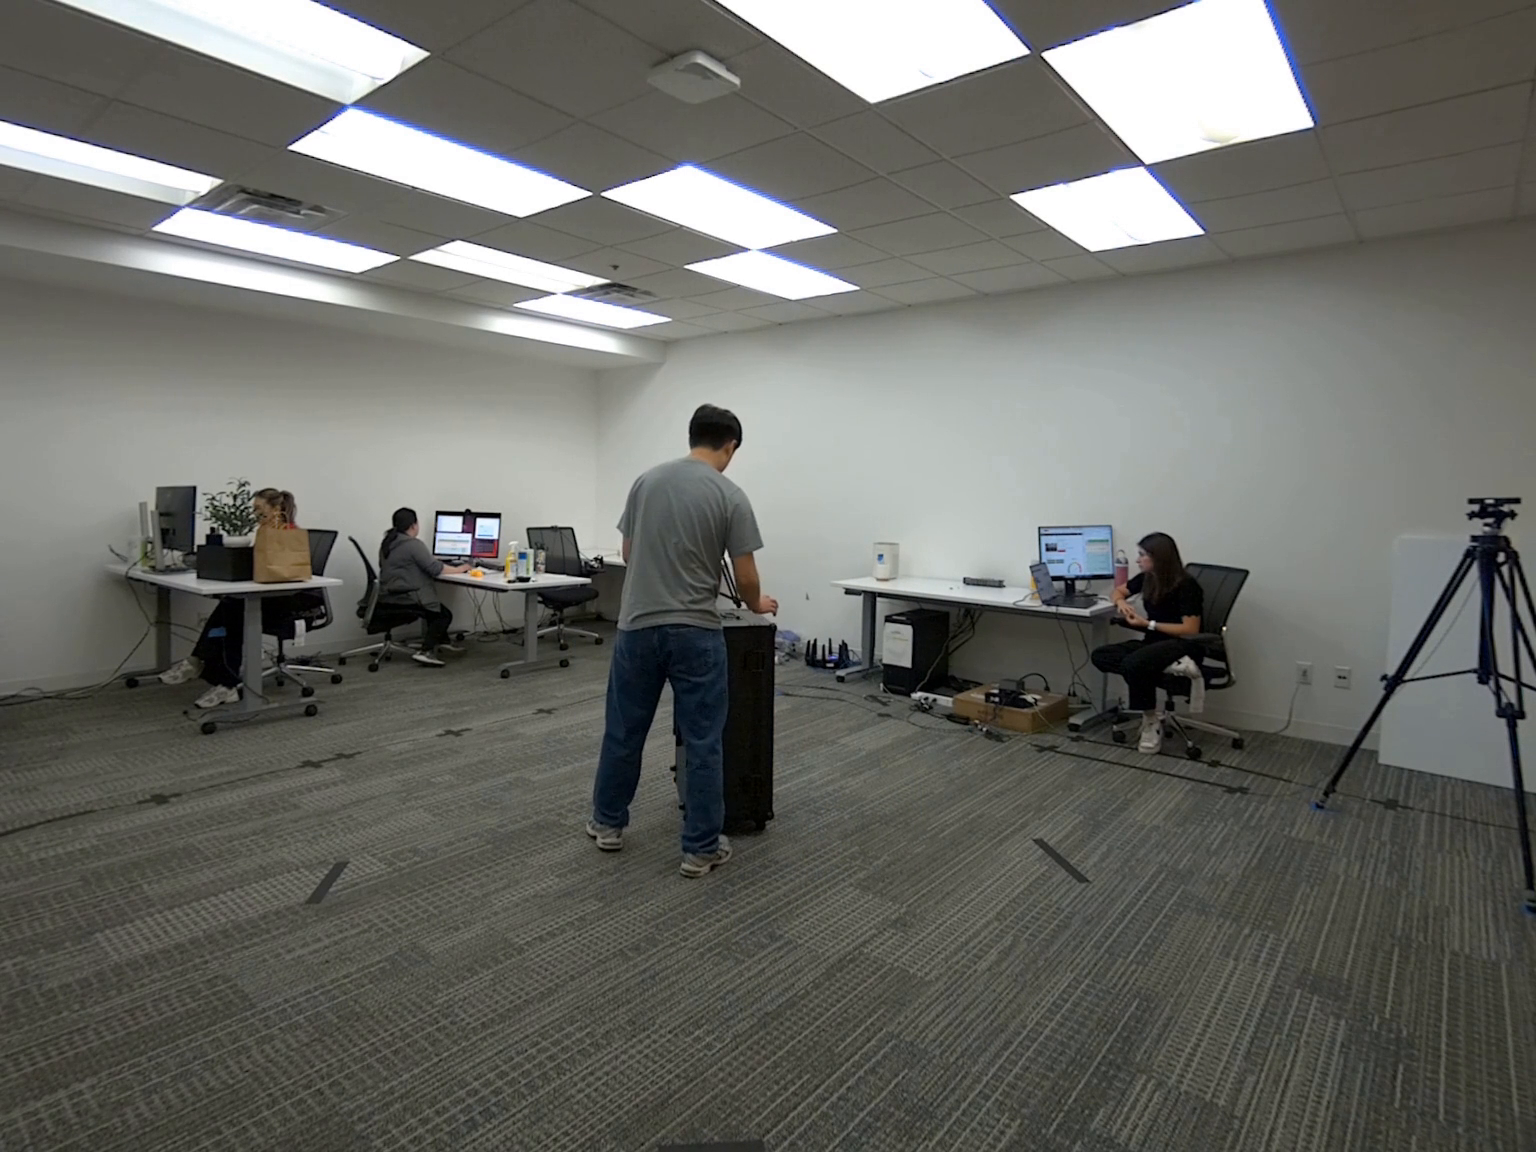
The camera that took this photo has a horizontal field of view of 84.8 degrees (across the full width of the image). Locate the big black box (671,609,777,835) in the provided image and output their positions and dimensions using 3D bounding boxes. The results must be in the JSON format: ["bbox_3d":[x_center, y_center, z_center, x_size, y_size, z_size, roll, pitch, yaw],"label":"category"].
[{"bbox_3d":[-0.205,0.596,3.594,0.393,0.859,0.528,0,4,-9],"label":"big black box"}]
